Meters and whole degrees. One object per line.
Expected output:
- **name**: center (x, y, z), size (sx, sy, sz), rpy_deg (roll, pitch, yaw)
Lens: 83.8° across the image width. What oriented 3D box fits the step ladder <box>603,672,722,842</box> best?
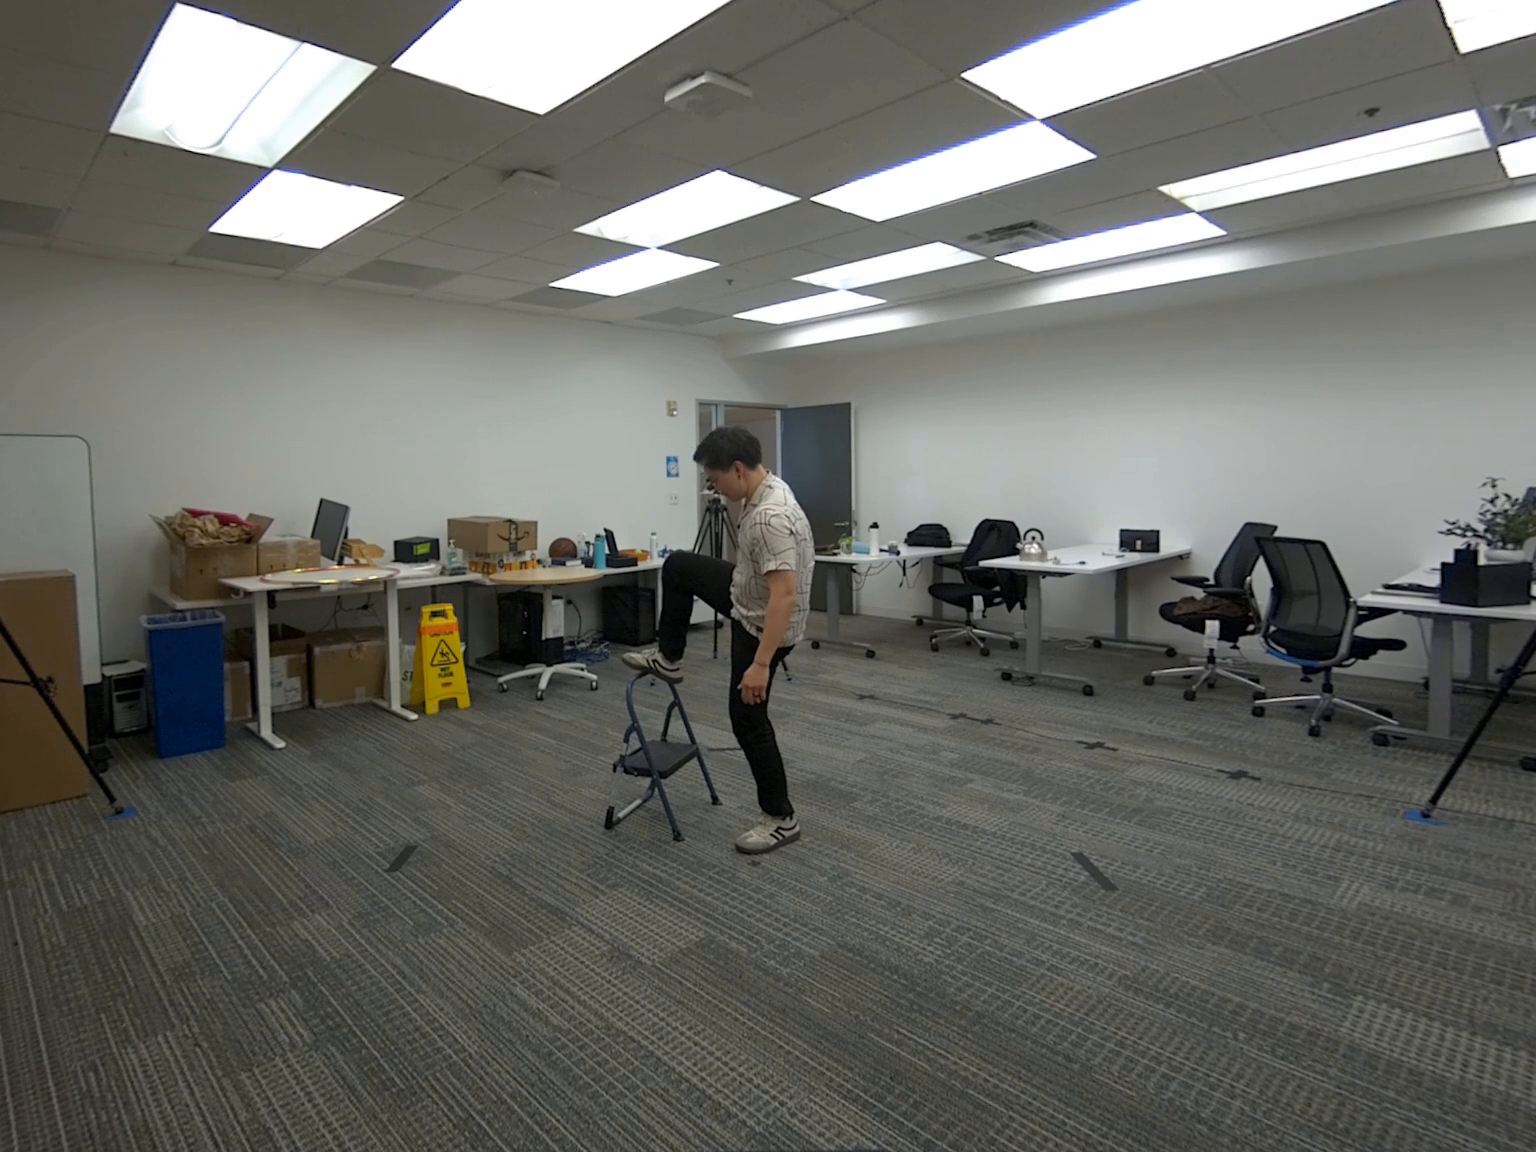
- **step ladder**: center (-0.439, 0.700, 3.545), size (0.356, 0.604, 0.424), rpy_deg (1, 4, 19)
